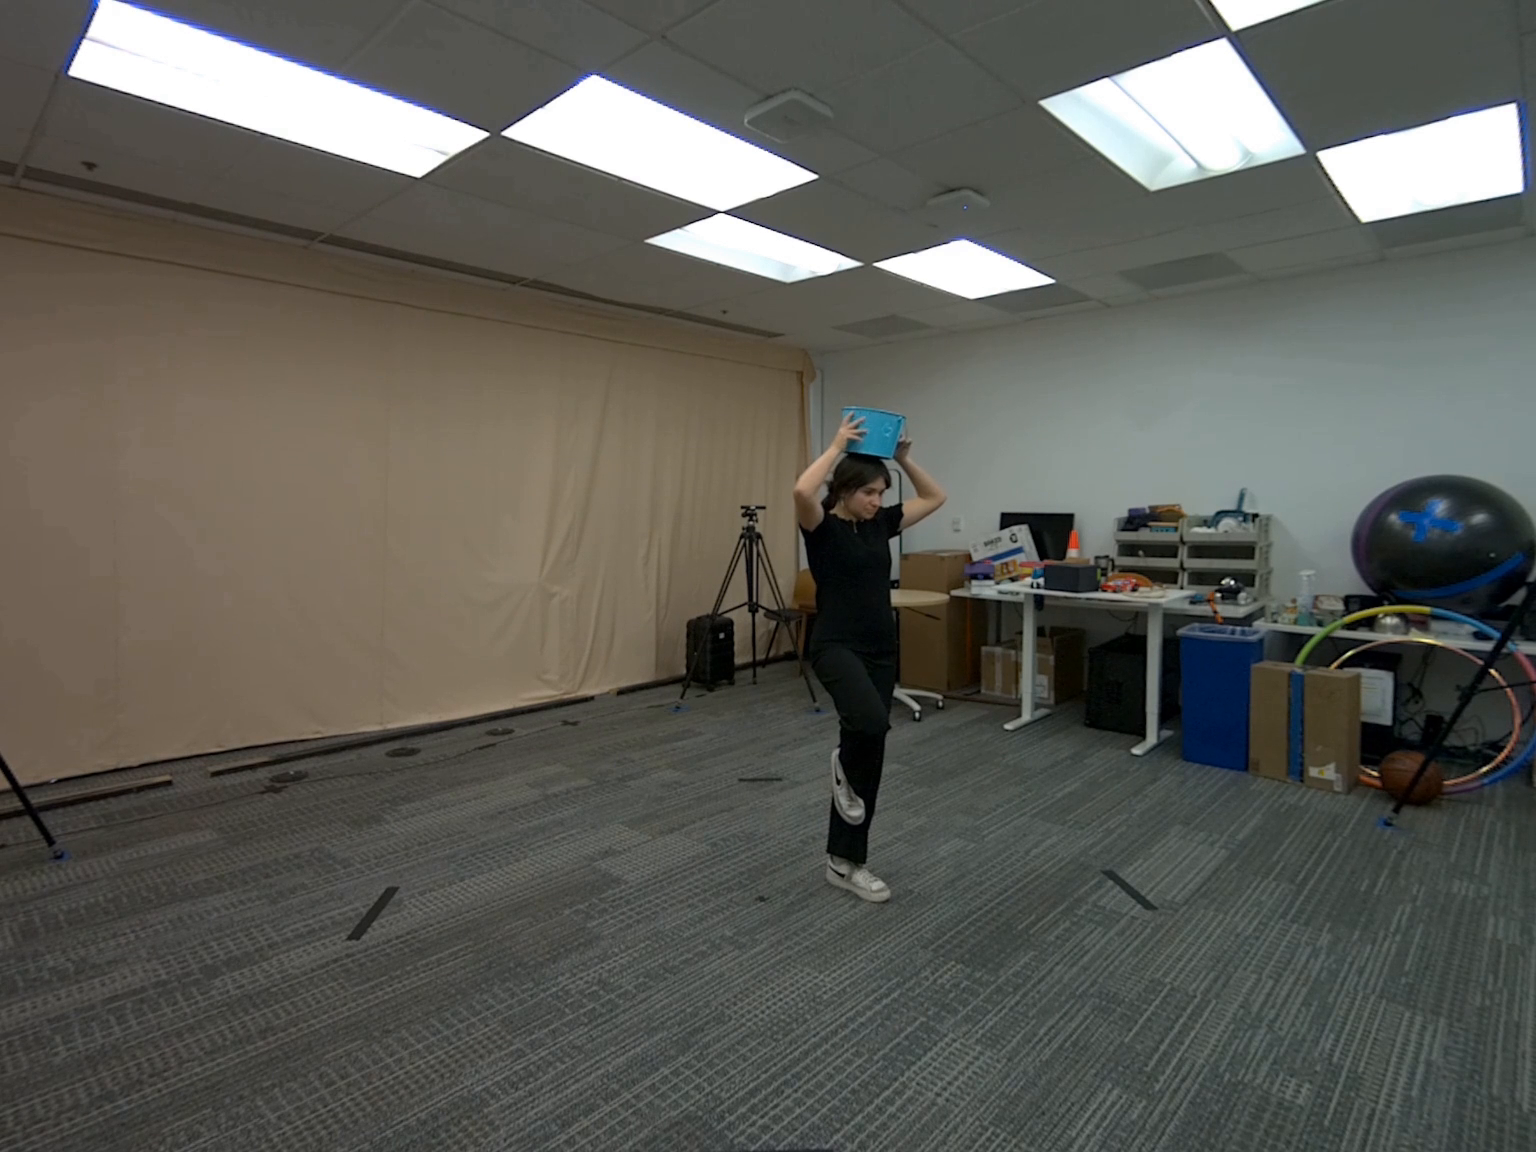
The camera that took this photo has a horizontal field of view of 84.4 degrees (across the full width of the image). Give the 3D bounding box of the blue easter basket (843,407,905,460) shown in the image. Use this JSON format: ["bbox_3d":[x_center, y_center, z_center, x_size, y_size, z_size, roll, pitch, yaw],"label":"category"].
[{"bbox_3d":[0.371,-0.507,2.997,0.243,0.155,0.245,8,6,-3],"label":"blue easter basket"}]
